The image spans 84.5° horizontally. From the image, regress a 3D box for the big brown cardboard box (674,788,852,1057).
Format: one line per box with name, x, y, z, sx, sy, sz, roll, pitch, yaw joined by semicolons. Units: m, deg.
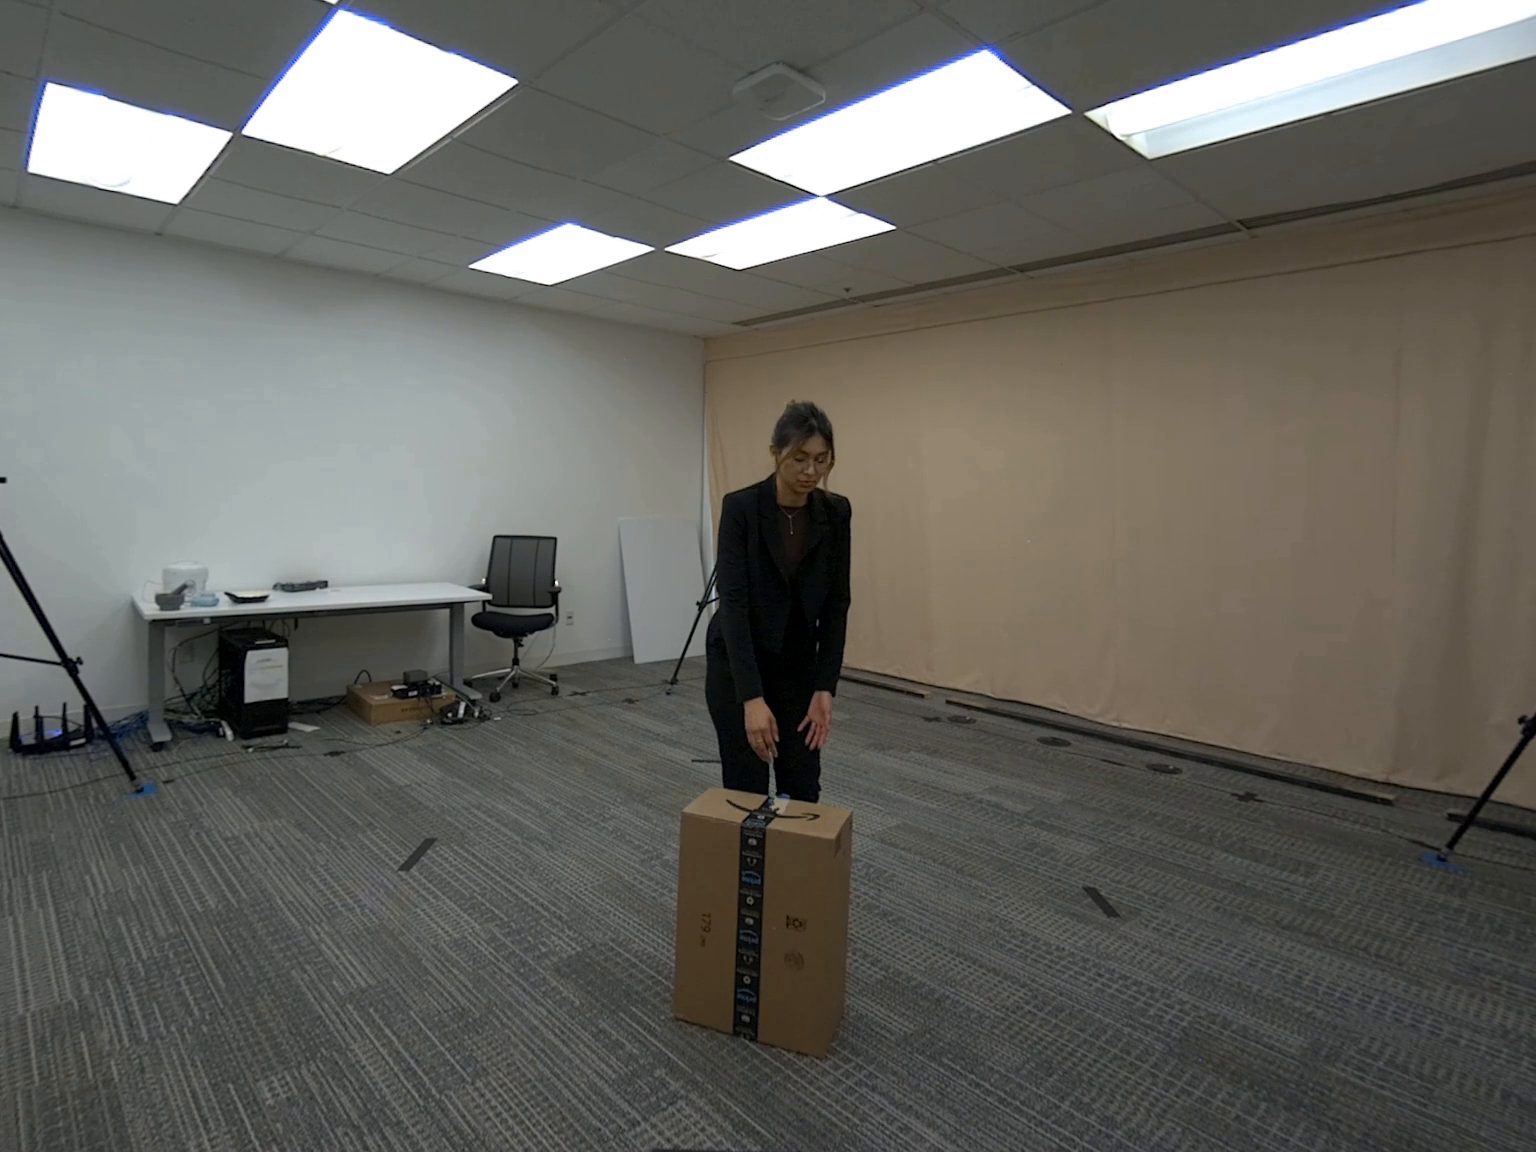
big brown cardboard box;-0.014;0.910;2.238;0.424;0.587;0.230;4;5;20
